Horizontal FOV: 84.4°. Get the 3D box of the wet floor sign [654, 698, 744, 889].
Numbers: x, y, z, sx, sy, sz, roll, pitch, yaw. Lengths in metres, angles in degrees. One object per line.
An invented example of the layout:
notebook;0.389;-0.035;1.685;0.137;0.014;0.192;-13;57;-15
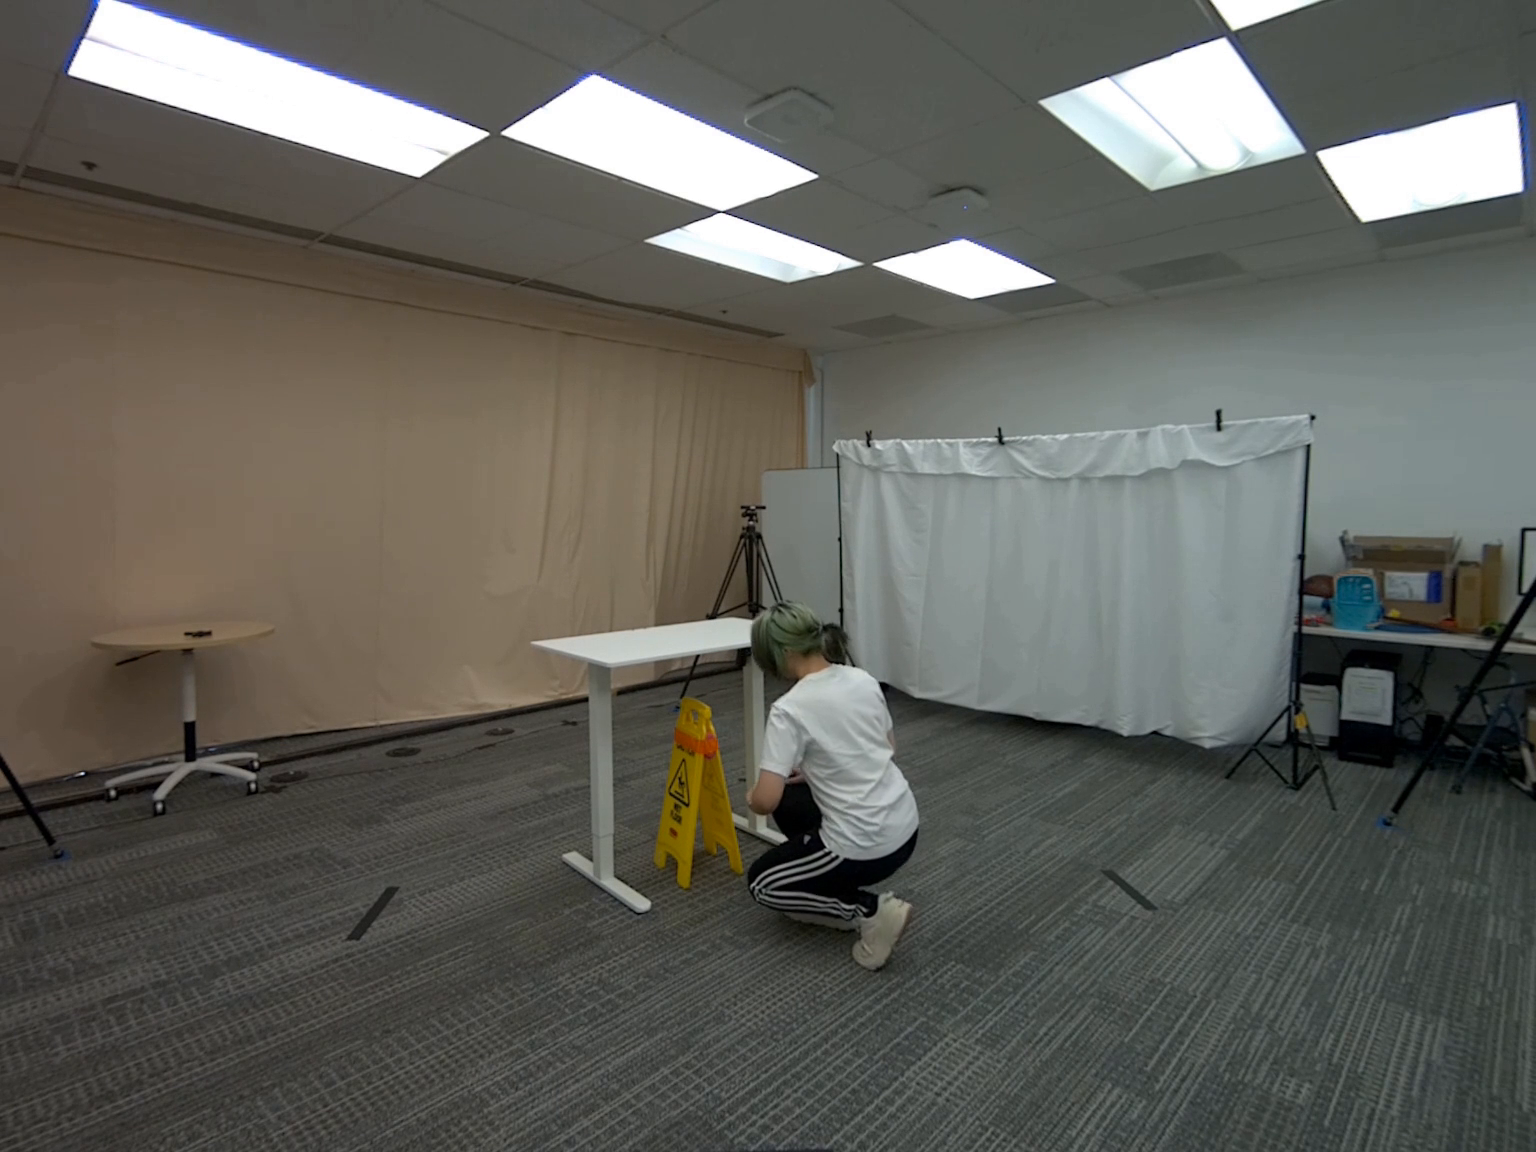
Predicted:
wet floor sign;-0.271;0.799;3.220;0.282;0.645;0.290;-1;4;-30
